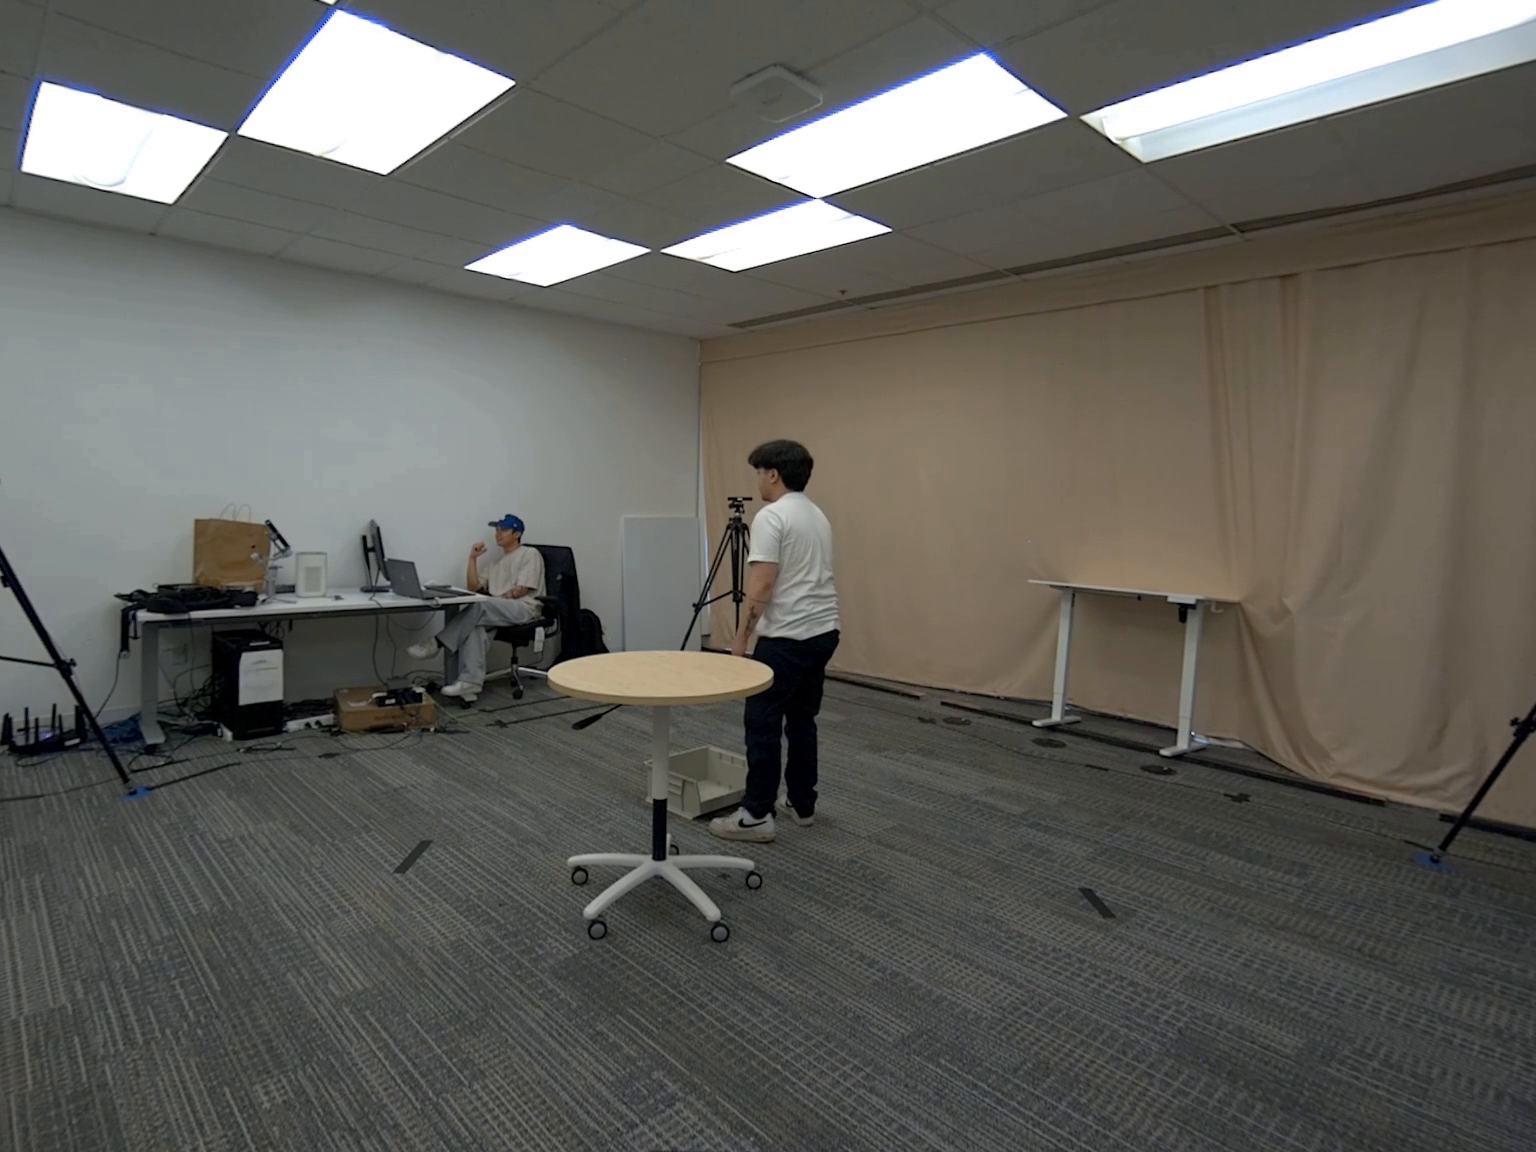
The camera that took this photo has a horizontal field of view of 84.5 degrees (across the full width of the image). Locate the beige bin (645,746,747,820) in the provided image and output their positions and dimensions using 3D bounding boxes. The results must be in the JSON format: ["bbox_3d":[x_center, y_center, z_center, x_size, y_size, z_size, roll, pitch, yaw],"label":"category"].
[{"bbox_3d":[-0.303,0.950,3.889,0.387,0.188,0.413,5,6,42],"label":"beige bin"}]
